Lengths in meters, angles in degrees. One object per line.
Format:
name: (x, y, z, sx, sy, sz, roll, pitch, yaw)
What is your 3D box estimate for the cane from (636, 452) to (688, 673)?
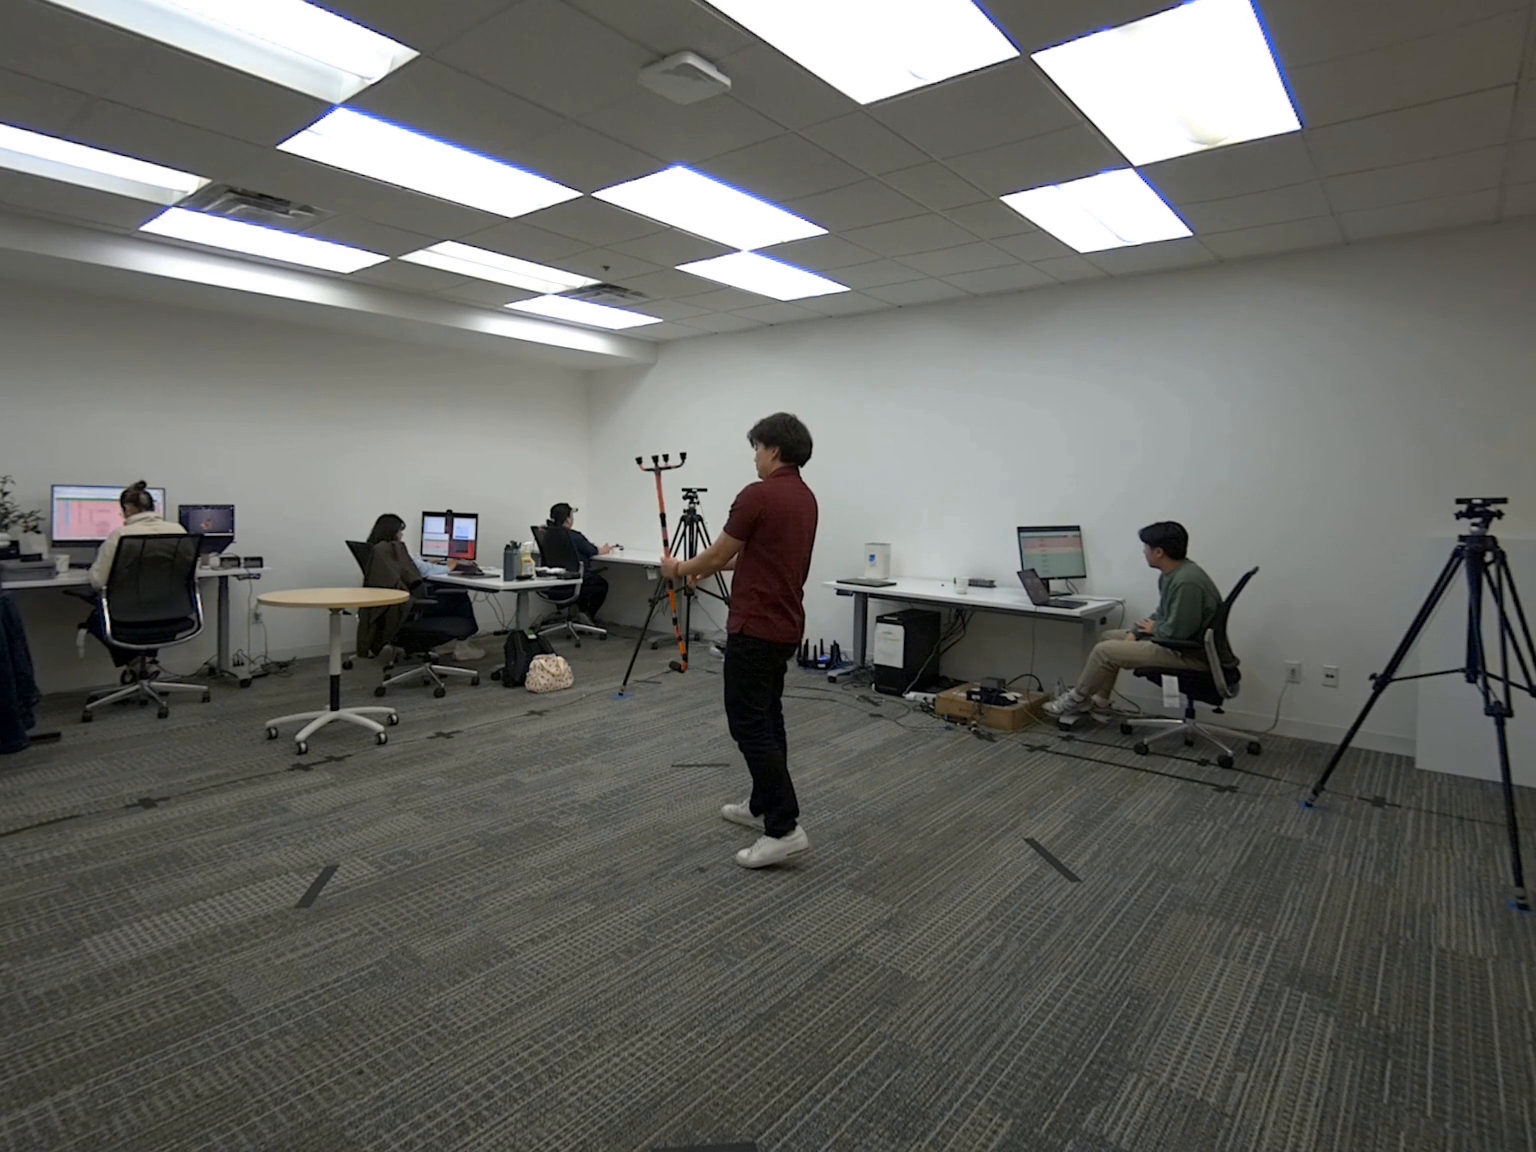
cane: (-0.408, -0.051, 3.526, 0.148, 0.900, 0.213, -10, 9, -28)
